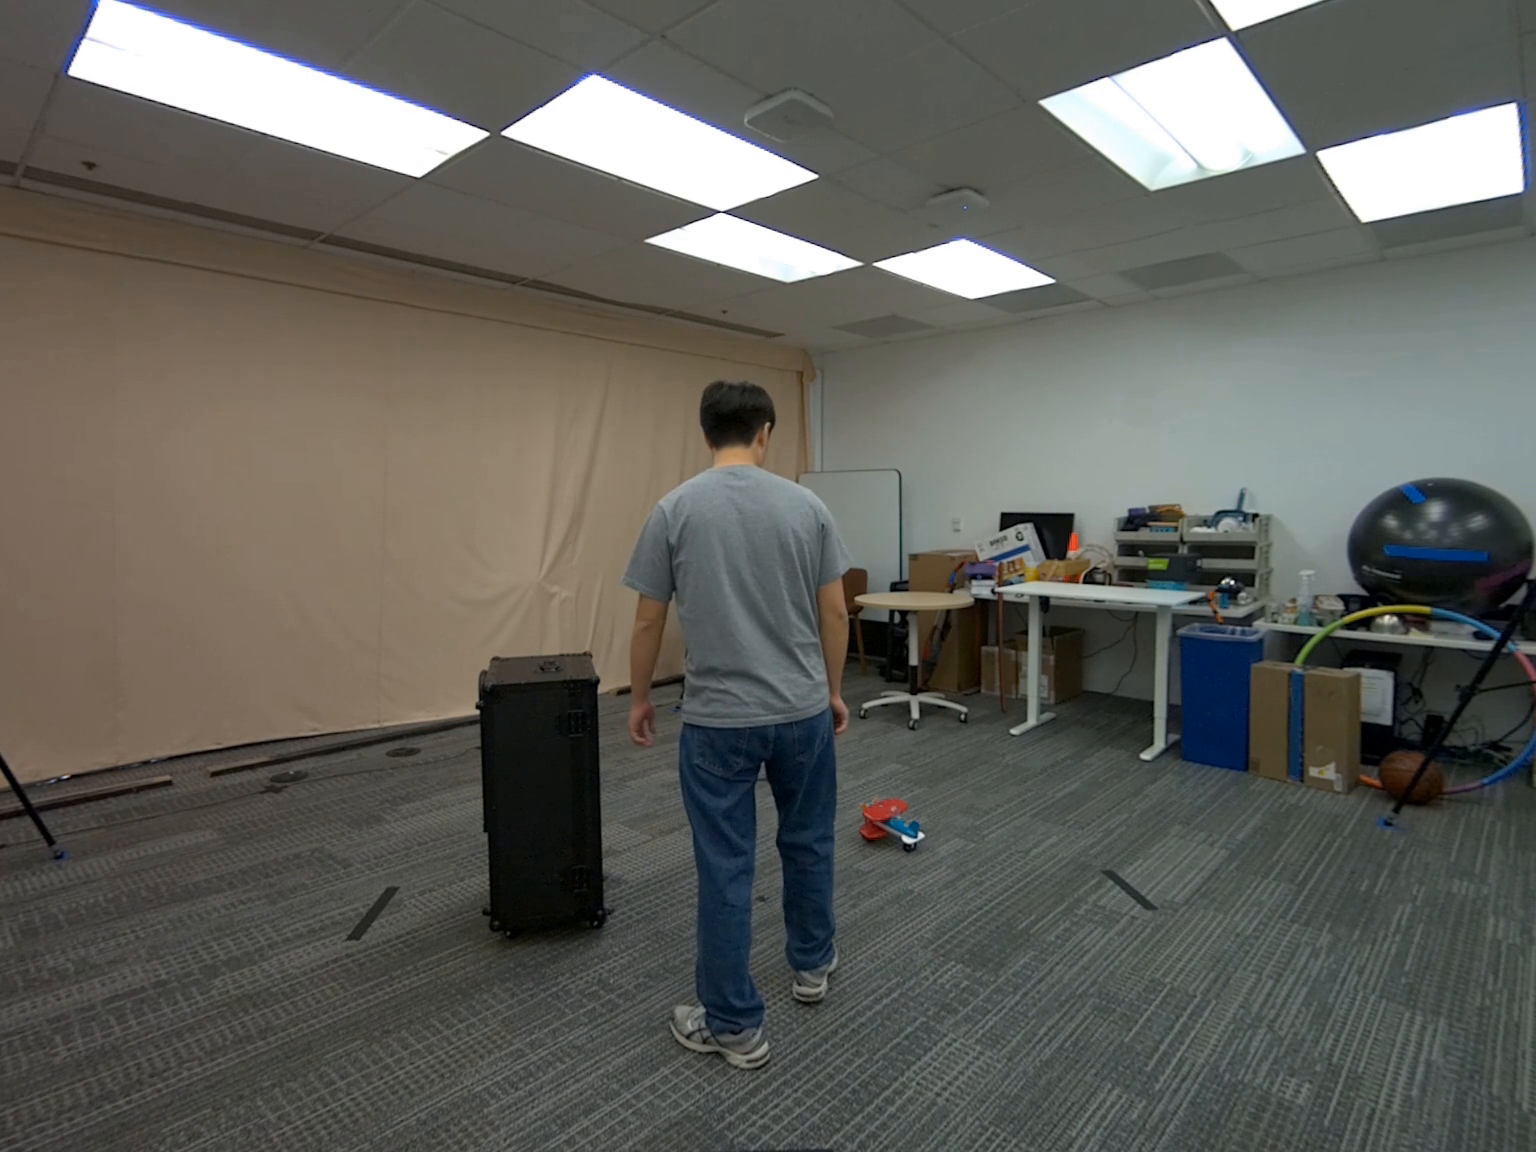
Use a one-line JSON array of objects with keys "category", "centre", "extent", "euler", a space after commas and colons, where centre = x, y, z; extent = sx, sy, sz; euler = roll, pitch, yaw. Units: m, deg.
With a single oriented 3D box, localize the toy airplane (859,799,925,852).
[{"category": "toy airplane", "centre": [0.521, 1.028, 3.478], "extent": [0.264, 0.156, 0.247], "euler": [0, 4, 17]}]
